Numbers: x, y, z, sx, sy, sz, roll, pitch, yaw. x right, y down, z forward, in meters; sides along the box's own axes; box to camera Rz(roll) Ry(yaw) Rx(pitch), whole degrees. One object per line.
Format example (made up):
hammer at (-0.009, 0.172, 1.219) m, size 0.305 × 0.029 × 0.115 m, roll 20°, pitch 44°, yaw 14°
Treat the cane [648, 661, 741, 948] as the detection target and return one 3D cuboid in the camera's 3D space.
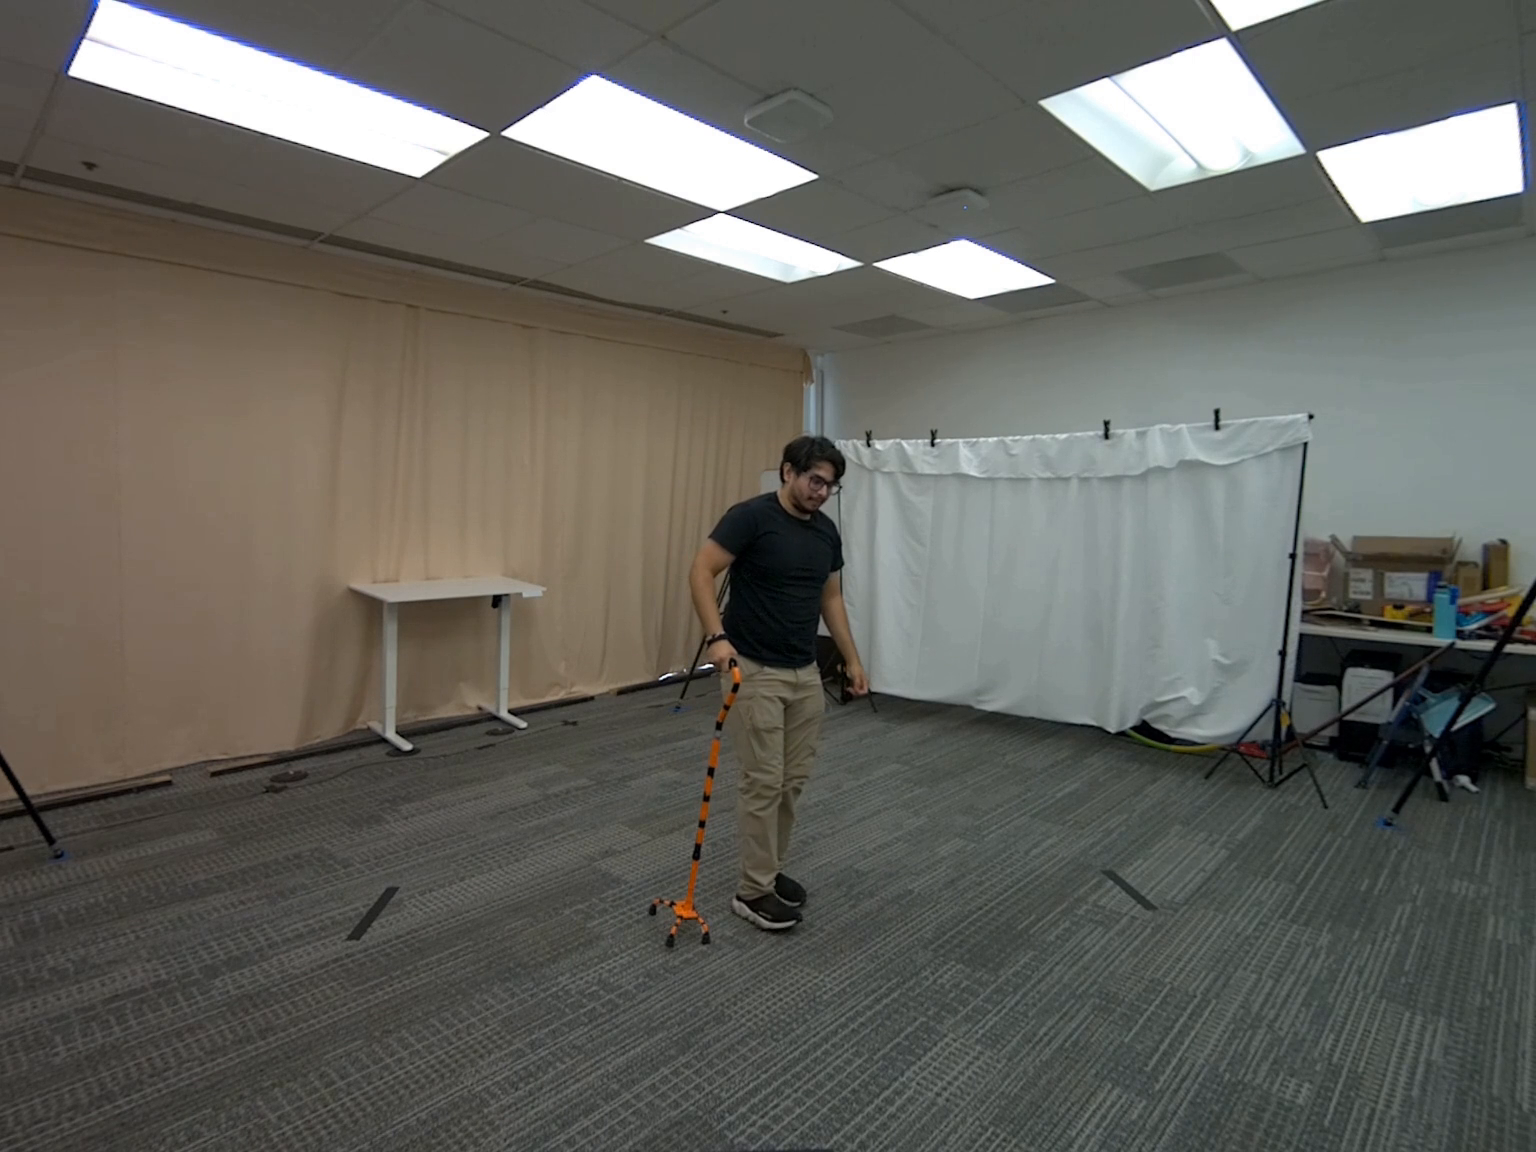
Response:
cane at (-0.213, 0.711, 2.687) m, size 0.148 × 0.905 × 0.212 m, roll 6°, pitch 8°, yaw -25°
